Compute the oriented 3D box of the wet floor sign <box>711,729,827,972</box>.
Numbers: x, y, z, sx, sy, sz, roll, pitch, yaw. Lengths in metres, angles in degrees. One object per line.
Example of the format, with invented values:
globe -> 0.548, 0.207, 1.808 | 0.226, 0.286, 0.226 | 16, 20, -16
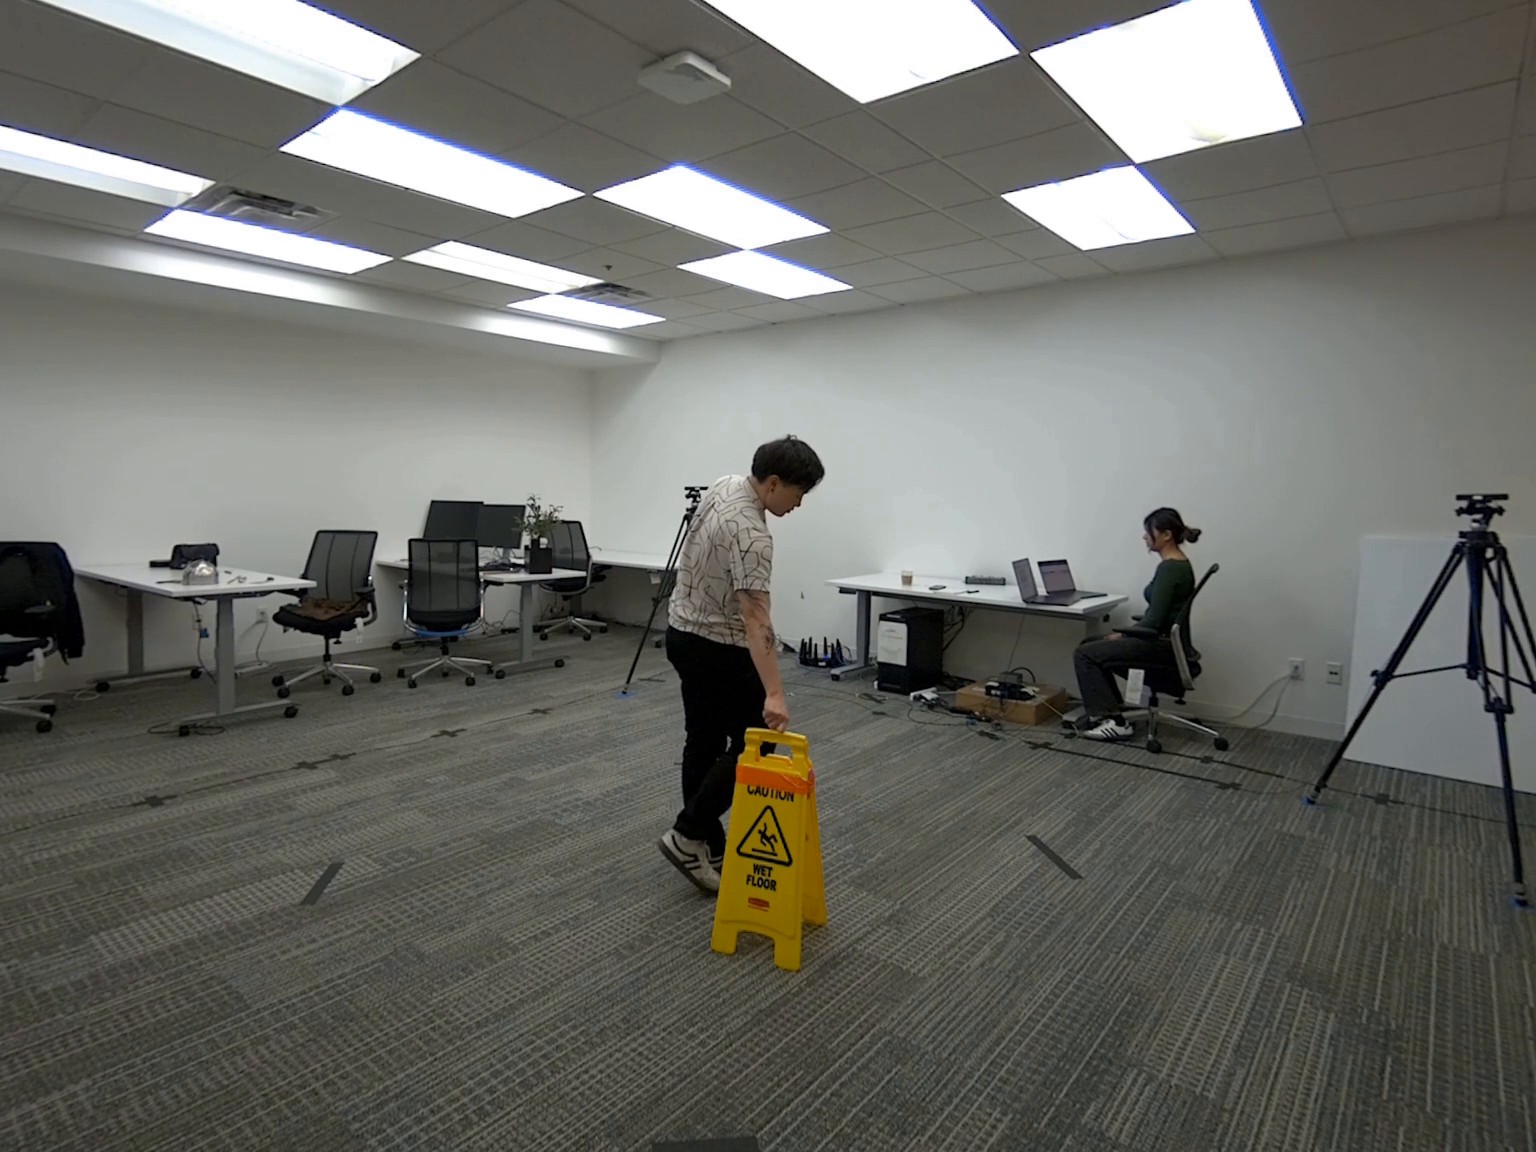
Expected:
wet floor sign -> 0.010, 0.792, 2.627 | 0.289, 0.645, 0.283 | 3, 2, 22
